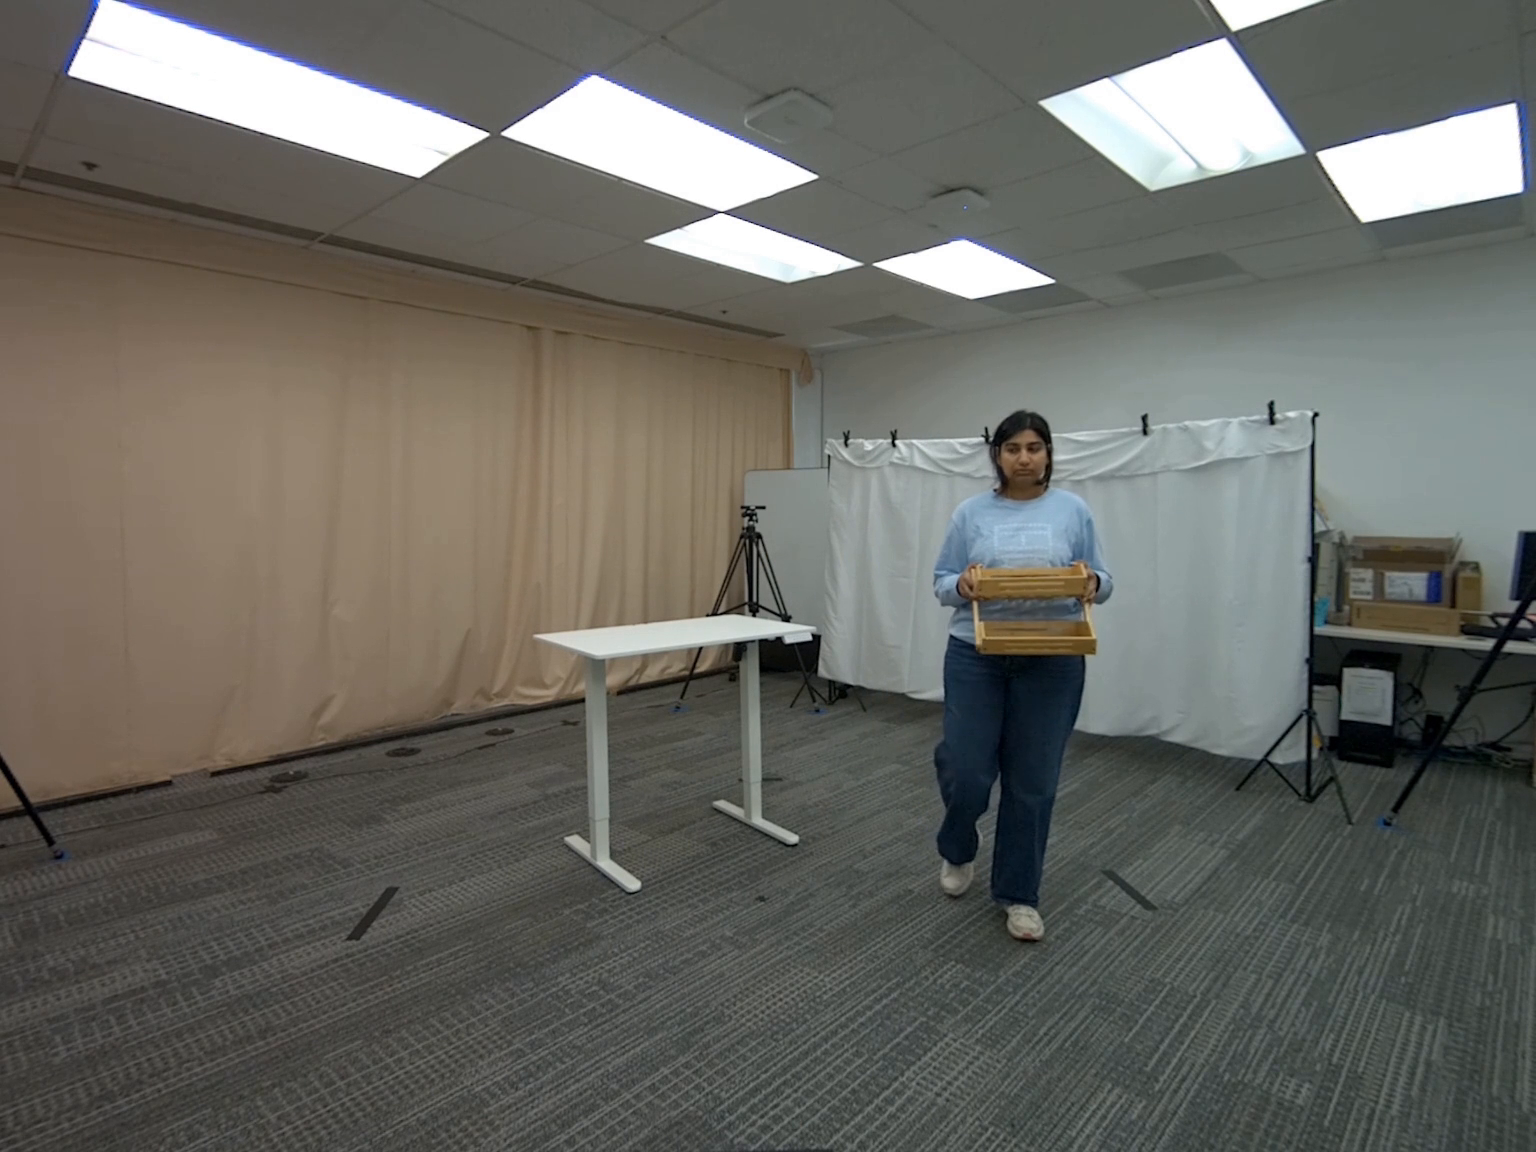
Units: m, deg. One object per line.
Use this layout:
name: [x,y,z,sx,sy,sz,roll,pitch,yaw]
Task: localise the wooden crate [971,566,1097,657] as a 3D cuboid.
wooden crate: [0.791,0.095,2.507,0.329,0.274,0.297,-1,-4,13]
